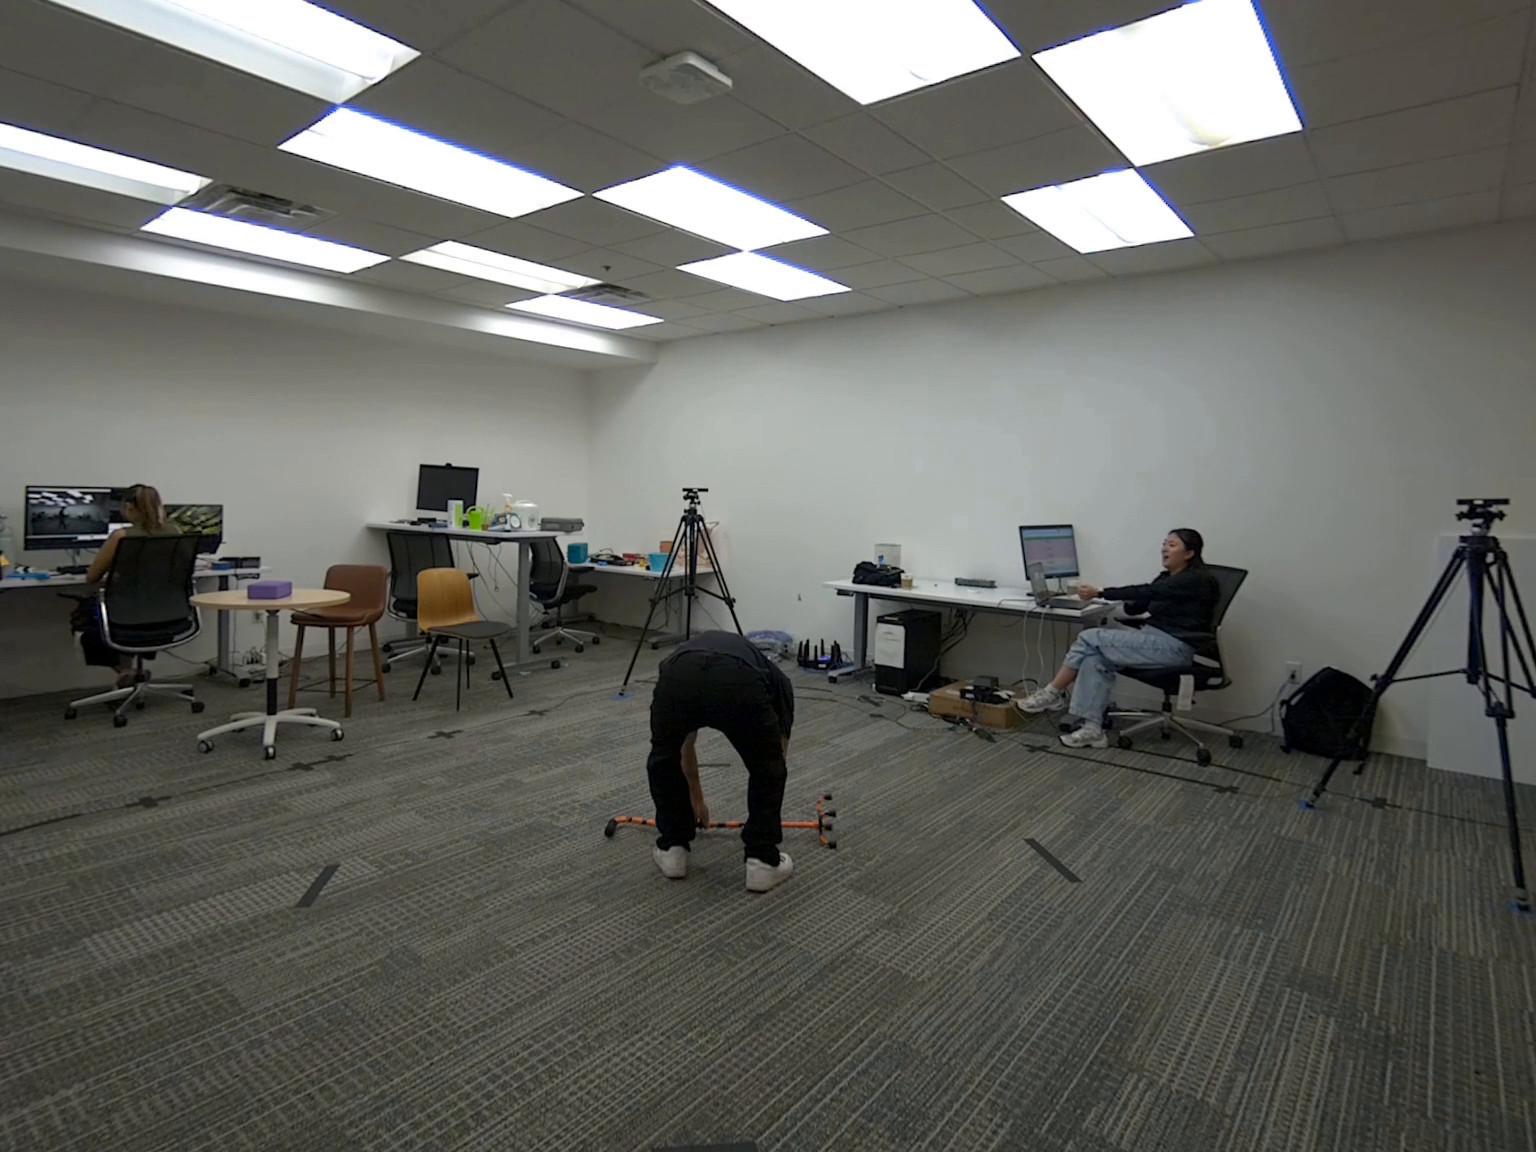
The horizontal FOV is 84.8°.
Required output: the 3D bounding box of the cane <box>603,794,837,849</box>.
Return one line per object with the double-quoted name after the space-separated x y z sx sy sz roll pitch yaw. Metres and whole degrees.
-0.200 0.970 3.420 0.909 0.151 0.206 -1 3 1 "cane"
